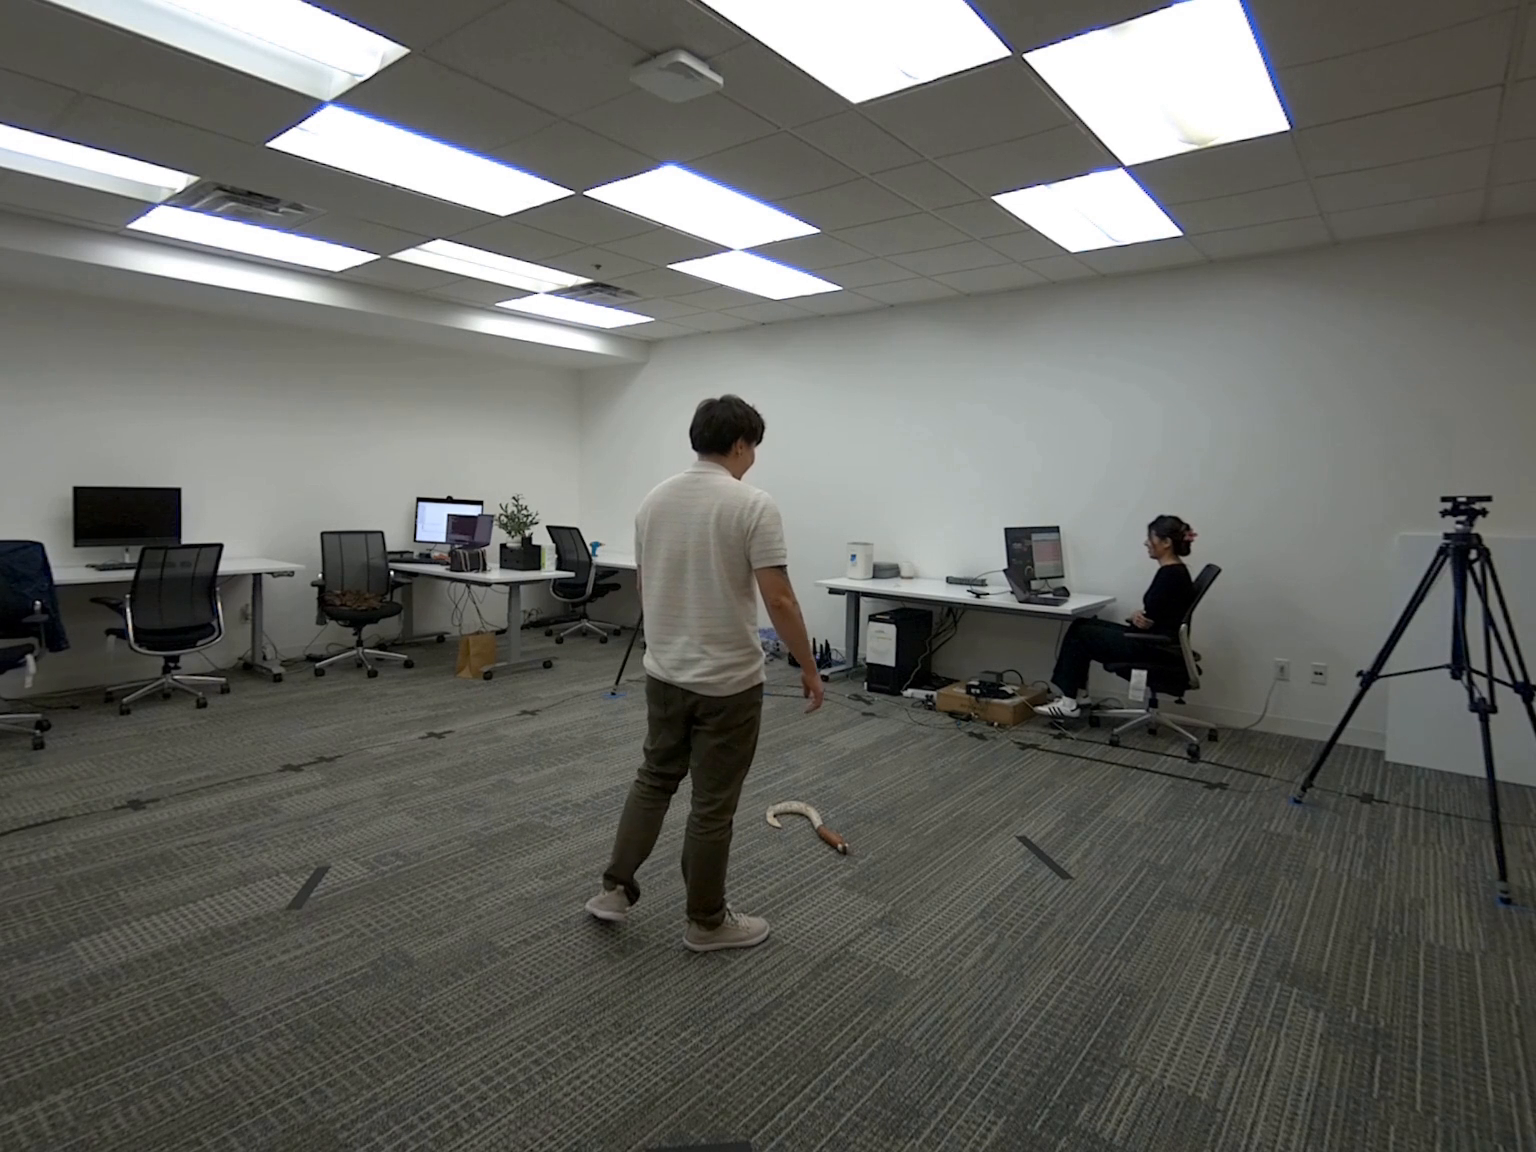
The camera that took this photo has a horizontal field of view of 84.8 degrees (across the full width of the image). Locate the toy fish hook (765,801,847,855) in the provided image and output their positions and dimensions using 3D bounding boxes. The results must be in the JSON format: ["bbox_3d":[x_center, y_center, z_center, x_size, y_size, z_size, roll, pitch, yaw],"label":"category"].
[{"bbox_3d":[0.142,1.021,3.465,0.221,0.048,0.519,-10,9,-21],"label":"toy fish hook"}]
